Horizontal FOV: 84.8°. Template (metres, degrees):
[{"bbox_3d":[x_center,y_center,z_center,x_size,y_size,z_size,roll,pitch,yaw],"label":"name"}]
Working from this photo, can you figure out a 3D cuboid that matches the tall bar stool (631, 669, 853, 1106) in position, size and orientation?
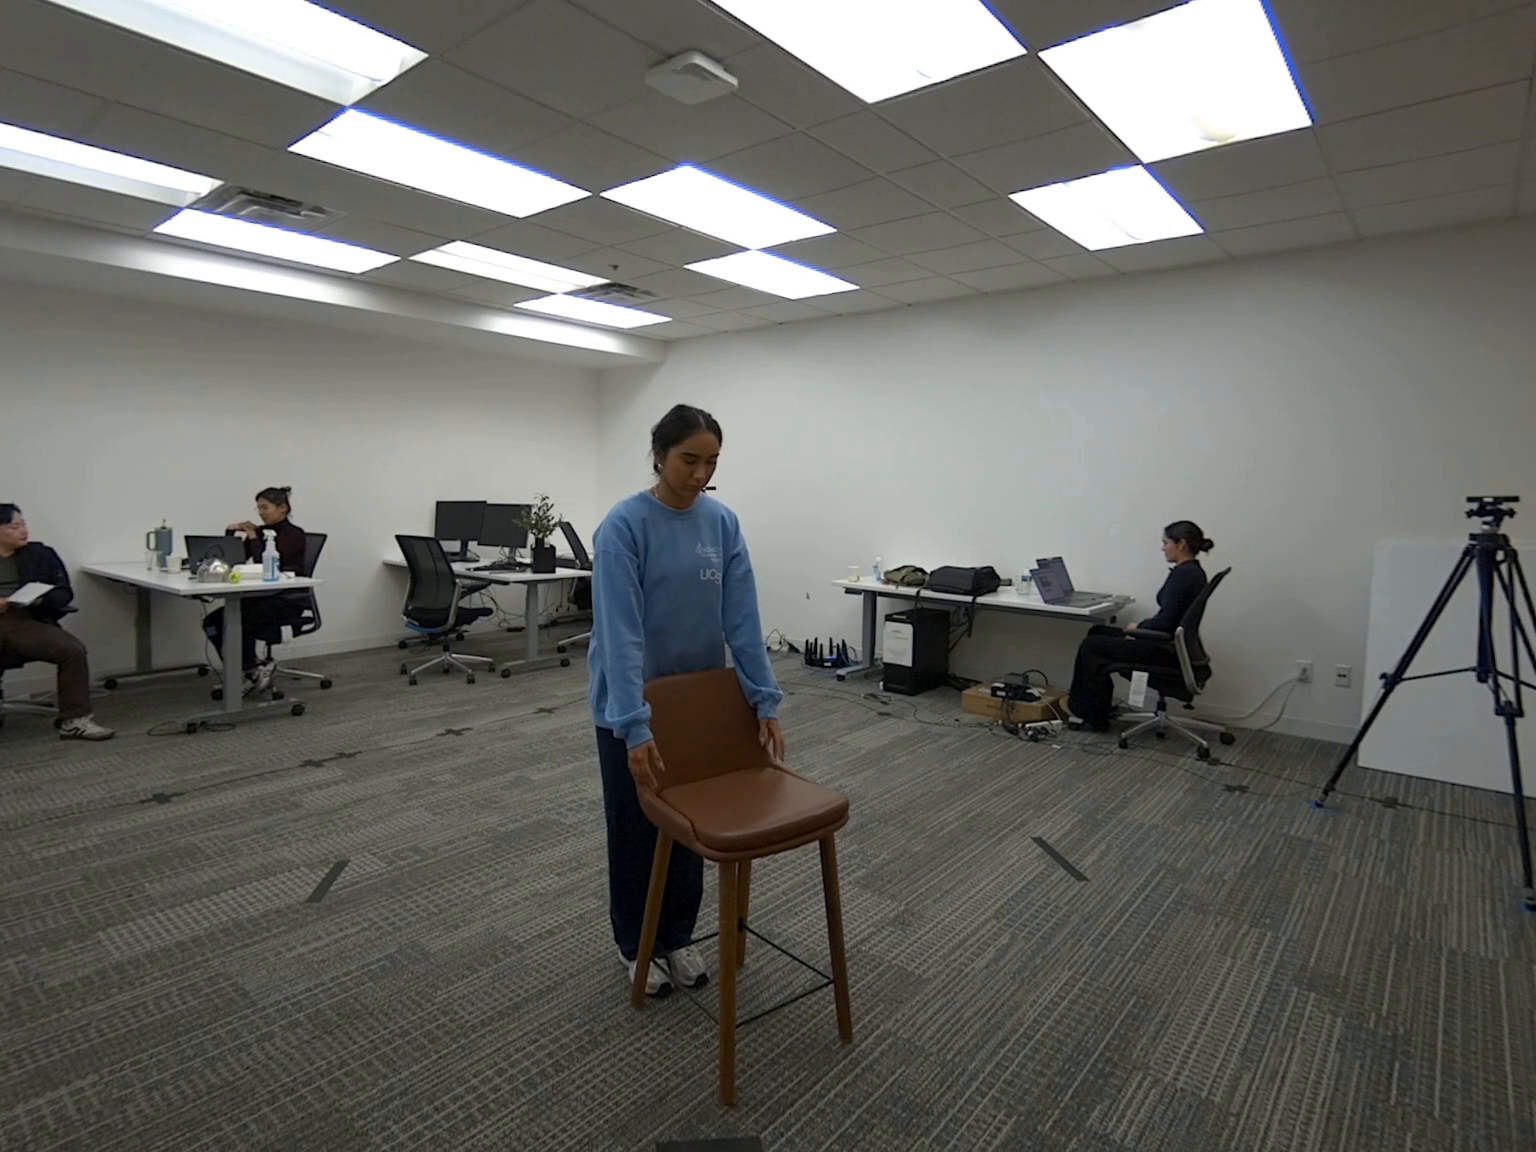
[{"bbox_3d":[-0.080,0.719,2.185,0.443,0.889,0.482,-1,2,-39],"label":"tall bar stool"}]
